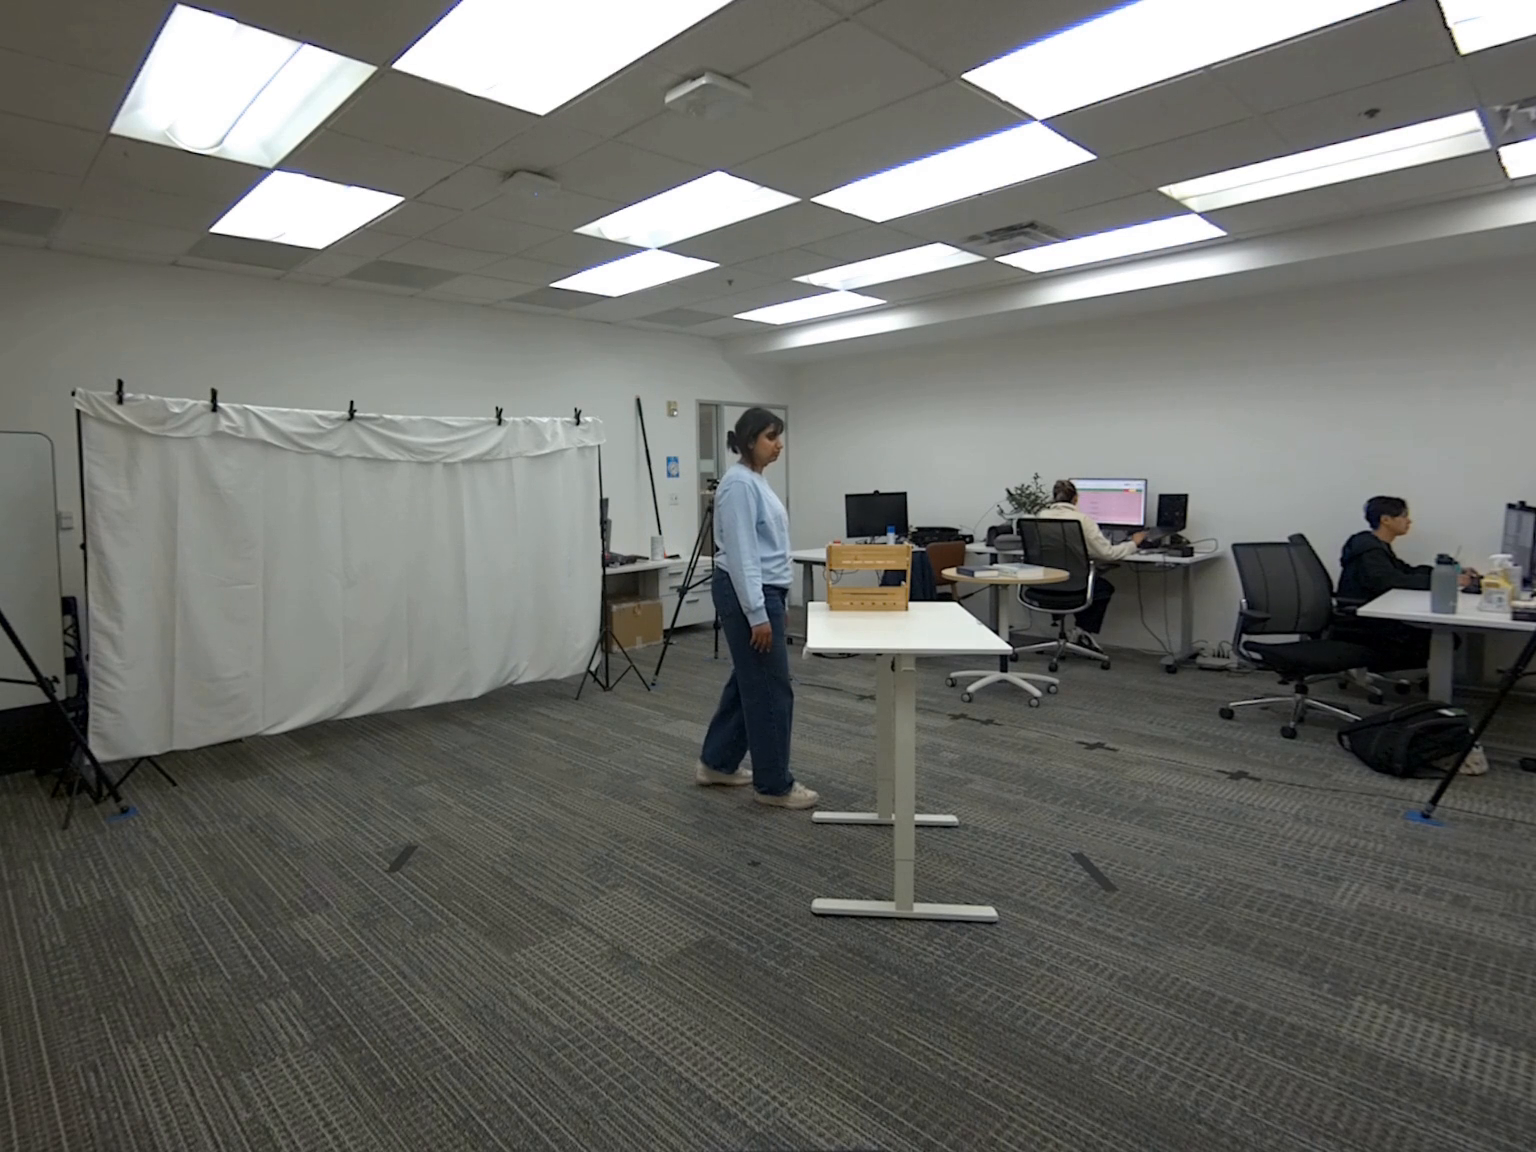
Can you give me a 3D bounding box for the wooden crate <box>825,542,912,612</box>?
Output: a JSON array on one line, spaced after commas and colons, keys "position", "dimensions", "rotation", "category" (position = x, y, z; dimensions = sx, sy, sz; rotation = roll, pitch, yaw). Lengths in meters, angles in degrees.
[{"position": [0.403, -0.007, 3.400], "dimensions": [0.327, 0.272, 0.301], "rotation": [0, 5, 6], "category": "wooden crate"}]
